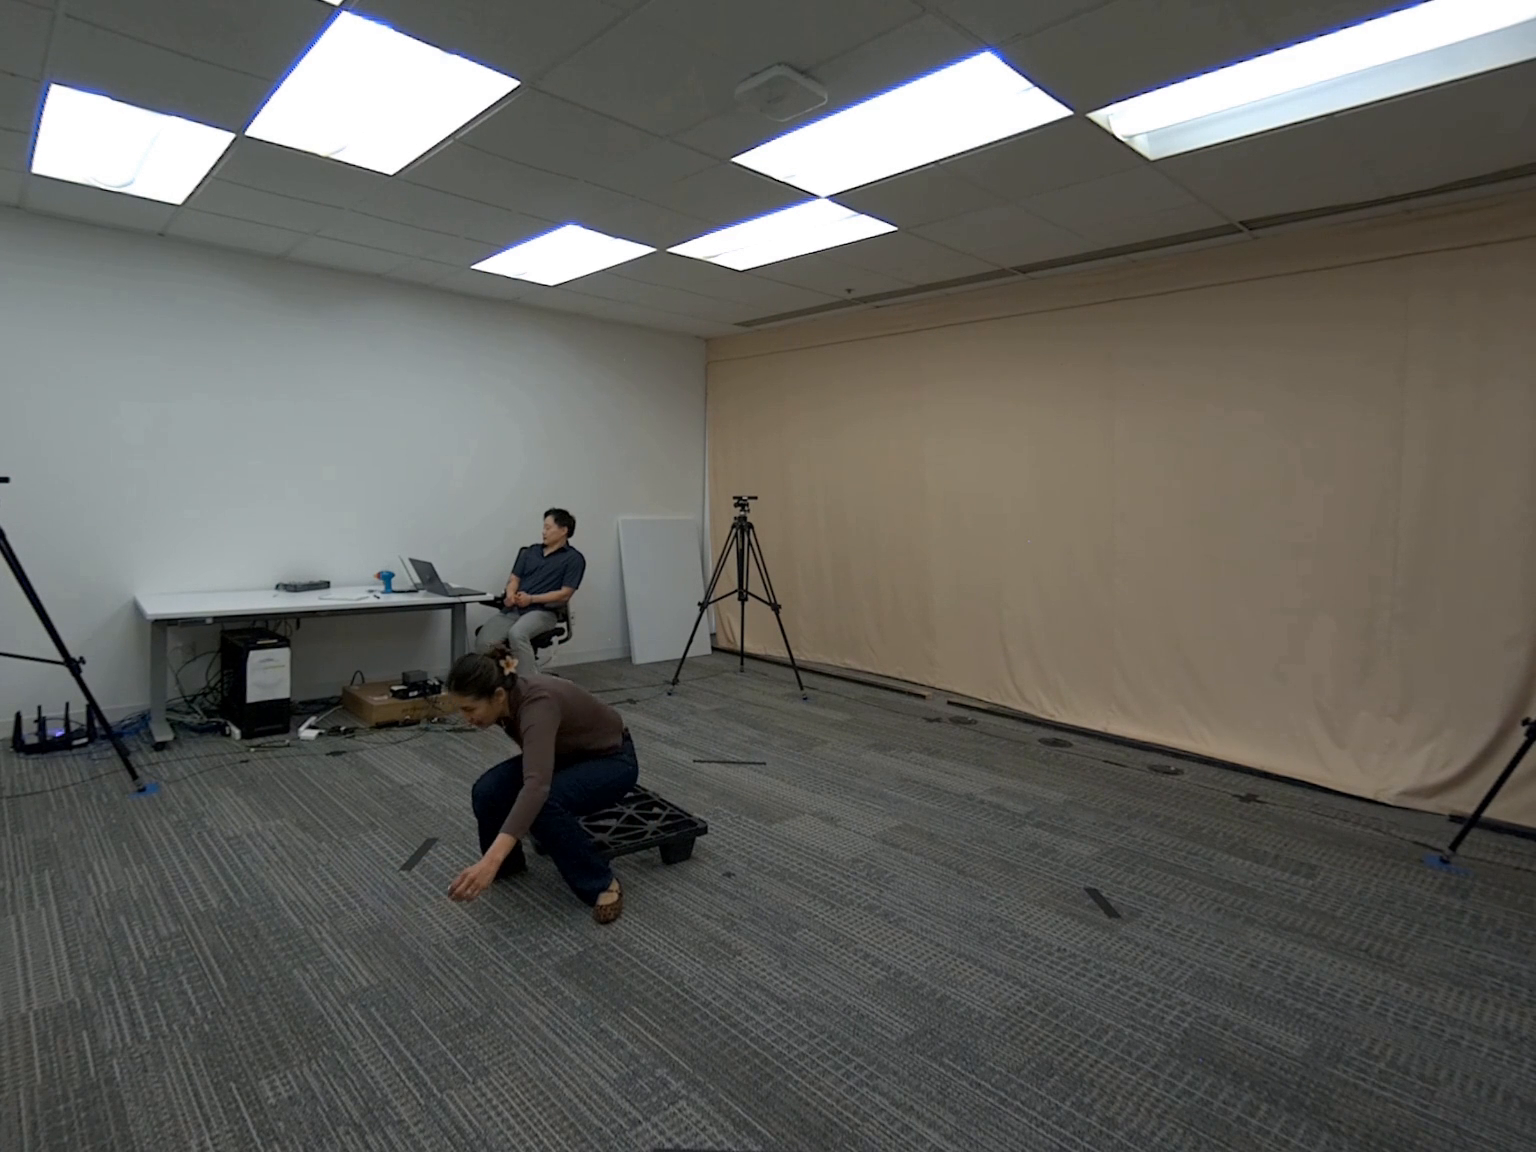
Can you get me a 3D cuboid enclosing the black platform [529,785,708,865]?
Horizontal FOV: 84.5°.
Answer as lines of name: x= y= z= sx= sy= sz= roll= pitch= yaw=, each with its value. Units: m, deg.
black platform: x=-0.708 y=0.999 z=3.389 sx=0.591 sy=0.143 sz=0.826 roll=-2 pitch=6 yaw=-37
